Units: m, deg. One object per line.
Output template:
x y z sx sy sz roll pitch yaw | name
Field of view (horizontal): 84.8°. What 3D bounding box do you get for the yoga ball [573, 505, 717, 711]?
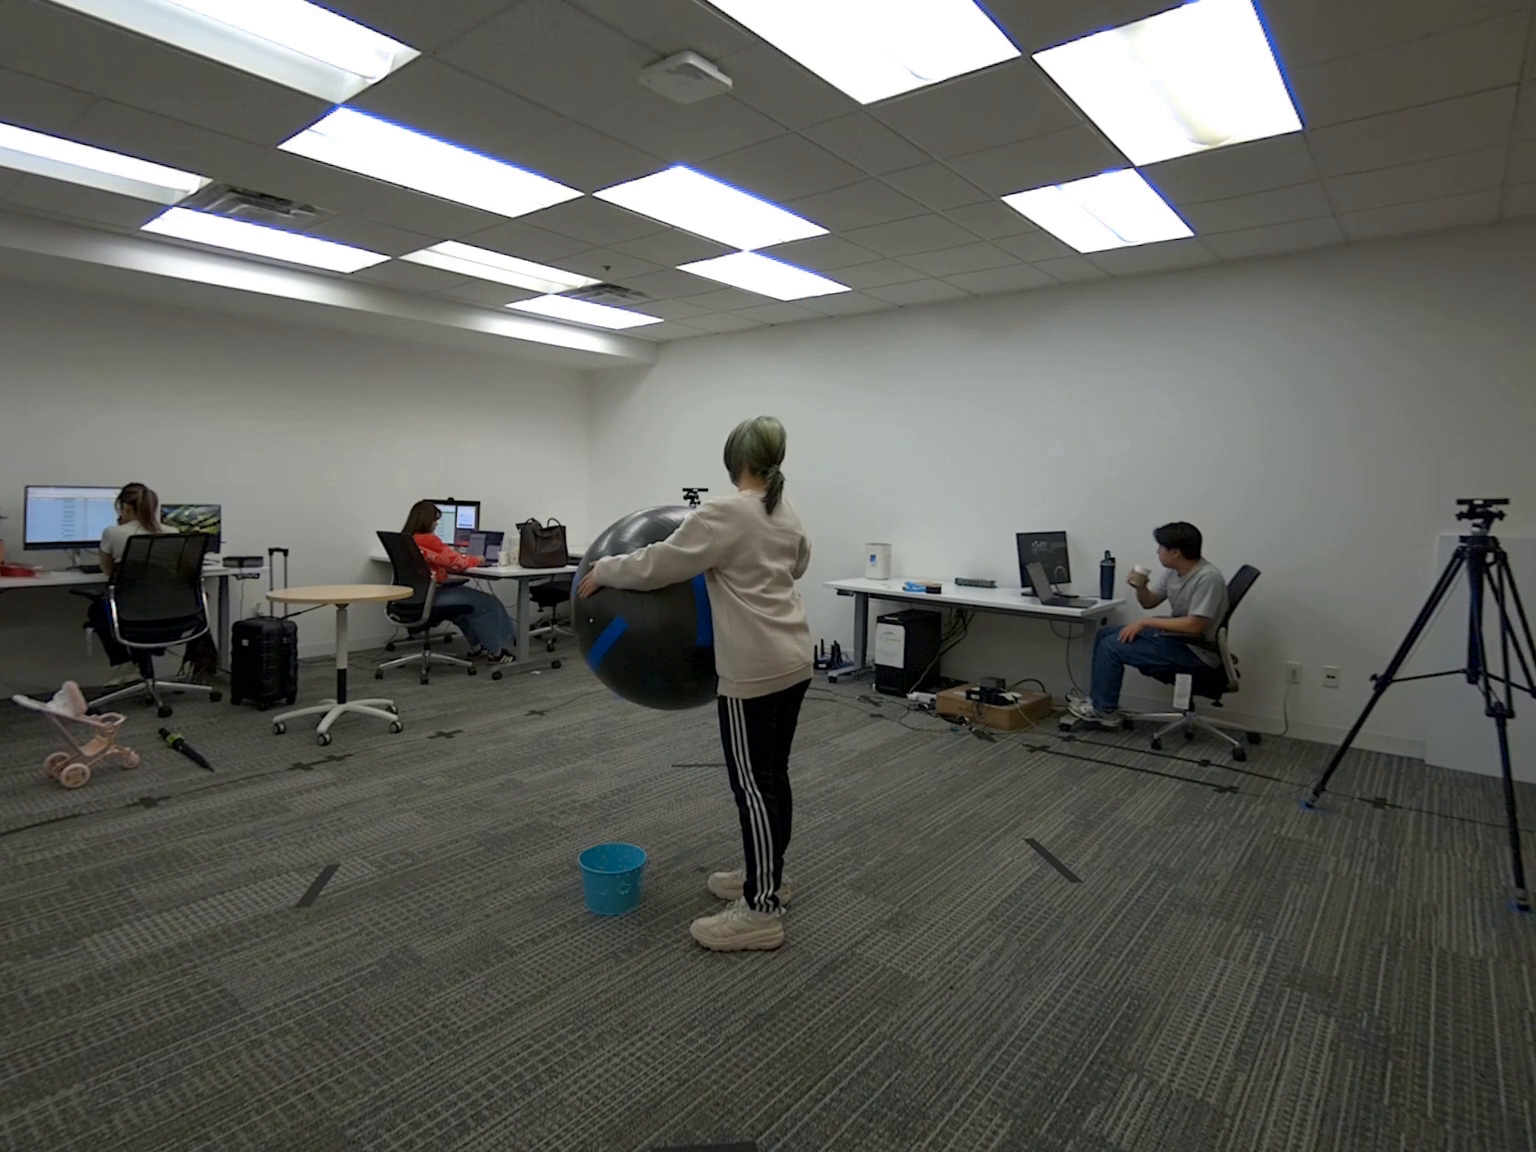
-0.376 0.115 3.201 0.757 0.756 0.761 1 4 -2 | yoga ball
